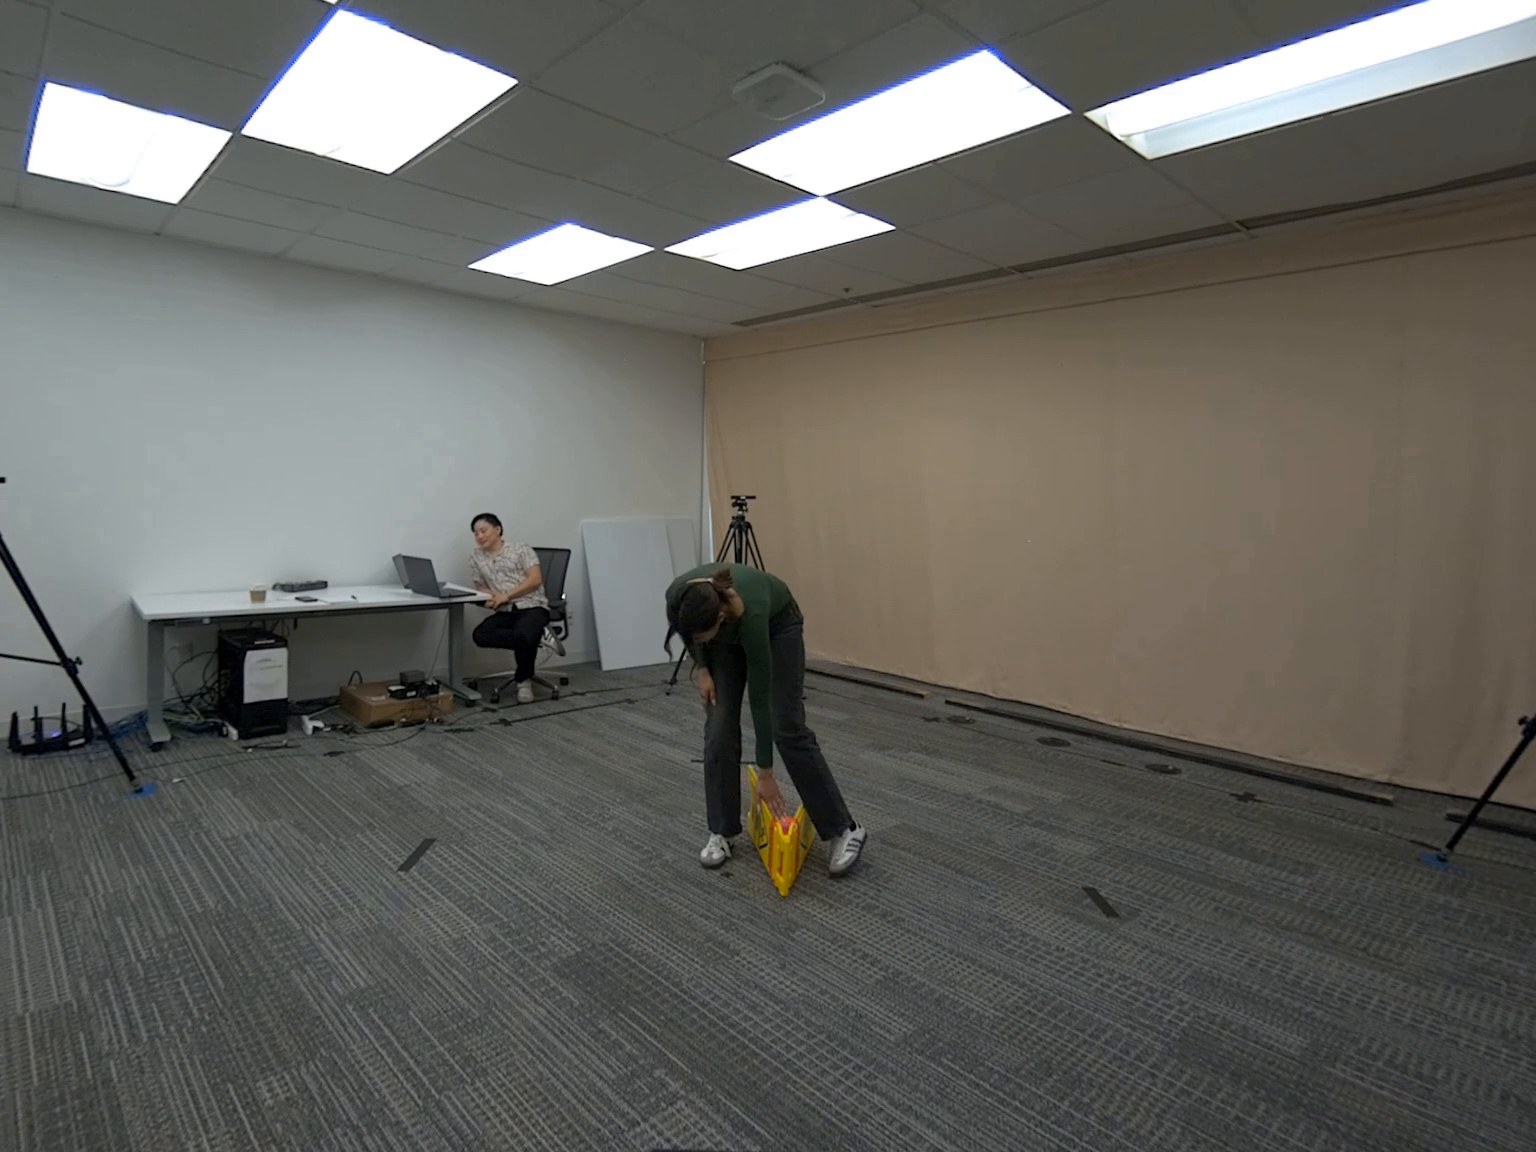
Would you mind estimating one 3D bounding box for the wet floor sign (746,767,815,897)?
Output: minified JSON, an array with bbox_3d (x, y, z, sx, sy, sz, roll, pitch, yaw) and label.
[{"bbox_3d":[0.056,0.964,3.198,0.290,0.281,0.648,2,7,0],"label":"wet floor sign"}]
